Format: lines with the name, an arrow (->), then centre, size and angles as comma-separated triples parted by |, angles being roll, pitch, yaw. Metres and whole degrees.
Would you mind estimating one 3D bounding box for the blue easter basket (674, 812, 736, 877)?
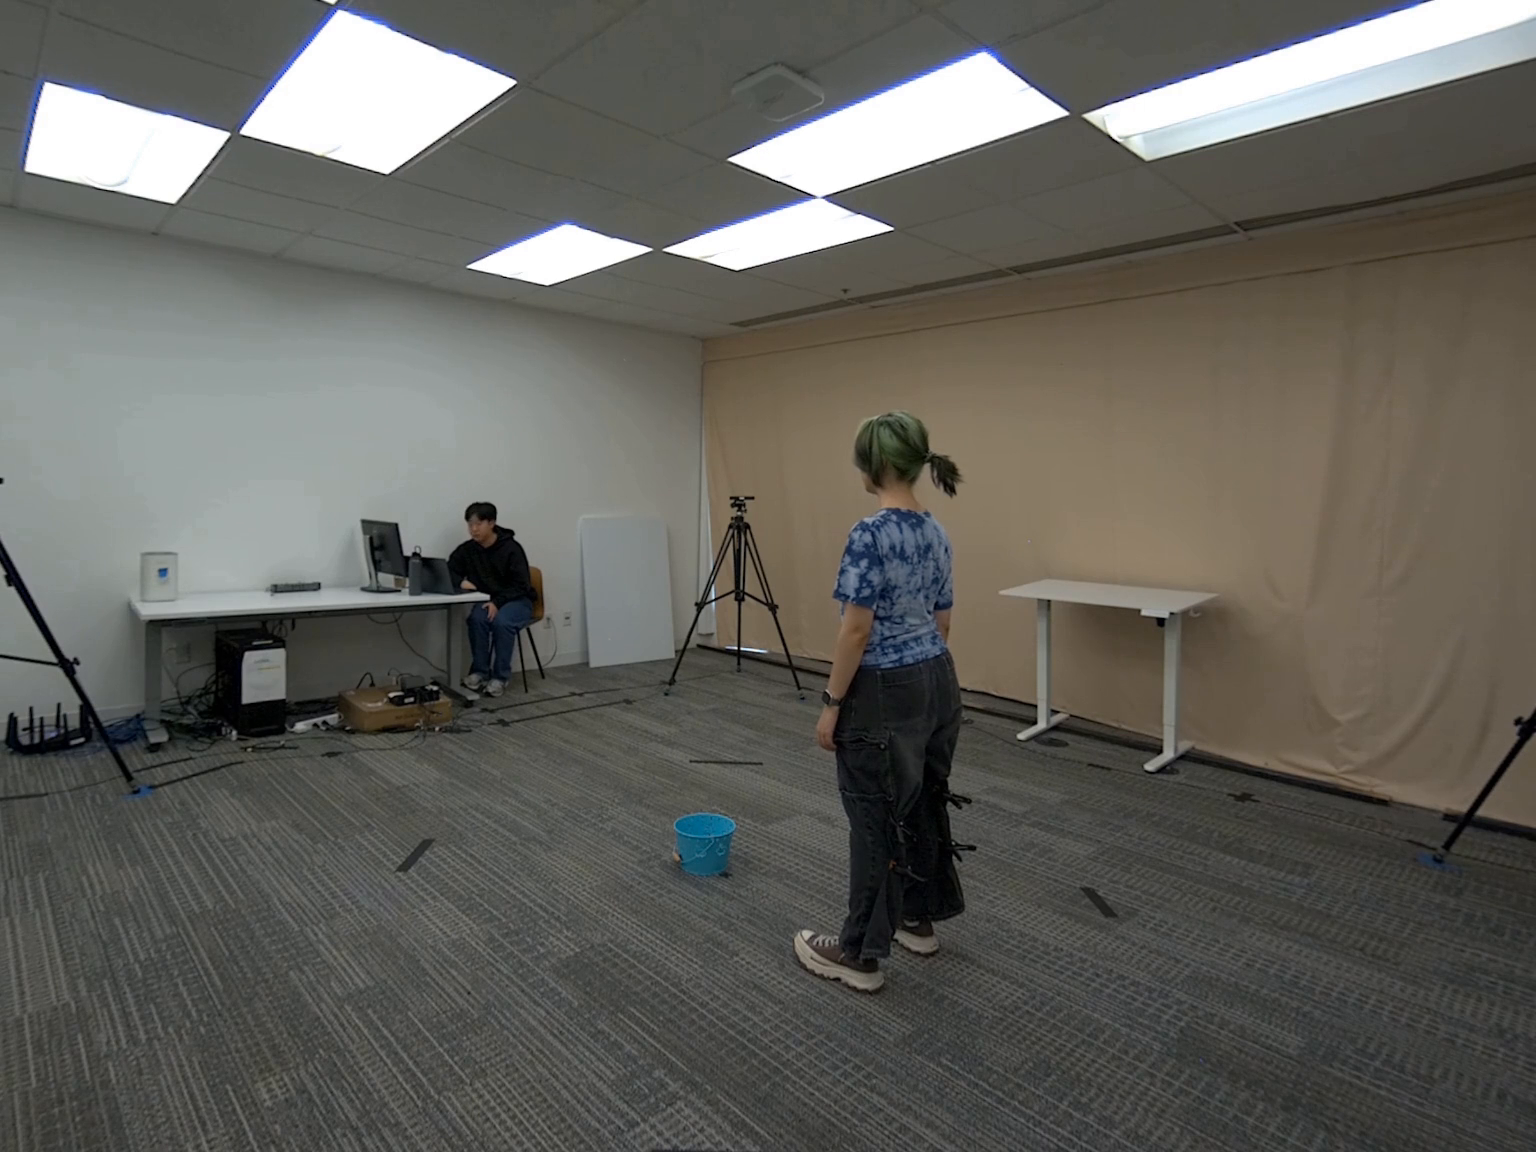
blue easter basket -> -0.245, 1.015, 3.186 | 0.243, 0.155, 0.244 | 1, 5, -1
